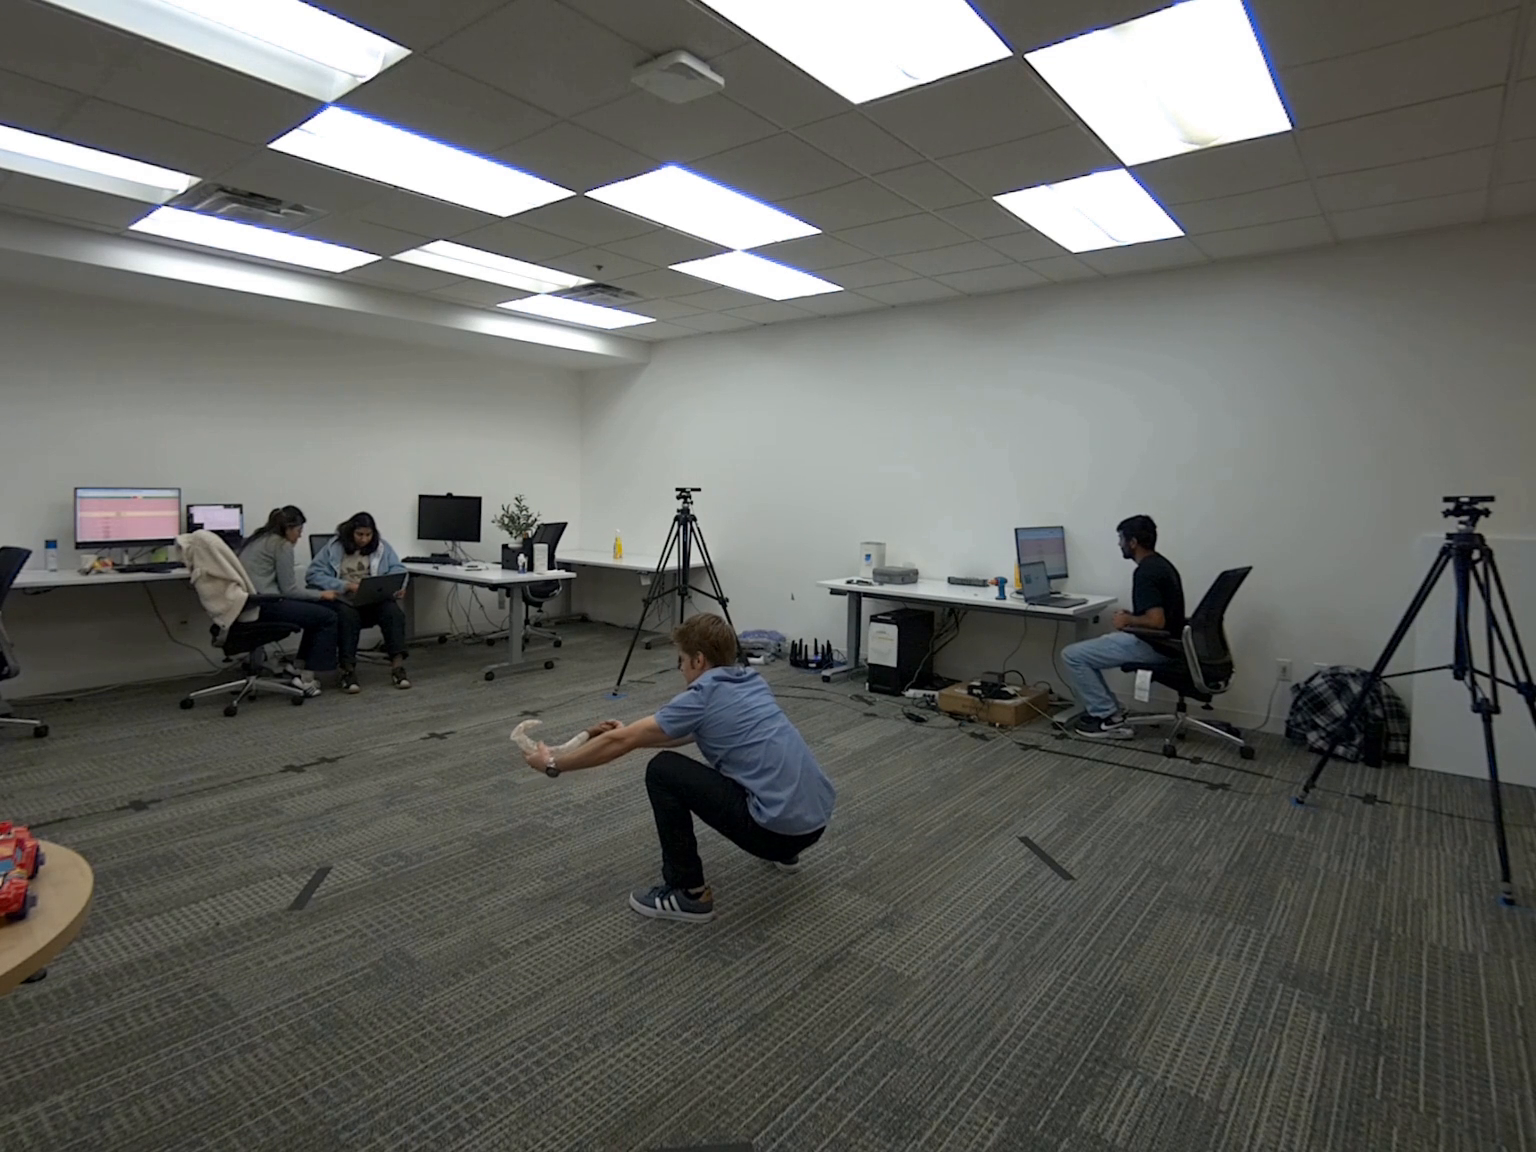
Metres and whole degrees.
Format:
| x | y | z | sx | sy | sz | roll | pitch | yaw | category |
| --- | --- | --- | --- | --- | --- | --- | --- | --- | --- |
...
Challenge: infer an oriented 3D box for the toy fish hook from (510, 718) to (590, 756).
| x | y | z | sx | sy | sz | roll | pitch | yaw | category |
| --- | --- | --- | --- | --- | --- | --- | --- | --- | --- |
| -0.746 | 0.575 | 3.148 | 0.232 | 0.048 | 0.493 | 32 | 16 | 24 | toy fish hook |
